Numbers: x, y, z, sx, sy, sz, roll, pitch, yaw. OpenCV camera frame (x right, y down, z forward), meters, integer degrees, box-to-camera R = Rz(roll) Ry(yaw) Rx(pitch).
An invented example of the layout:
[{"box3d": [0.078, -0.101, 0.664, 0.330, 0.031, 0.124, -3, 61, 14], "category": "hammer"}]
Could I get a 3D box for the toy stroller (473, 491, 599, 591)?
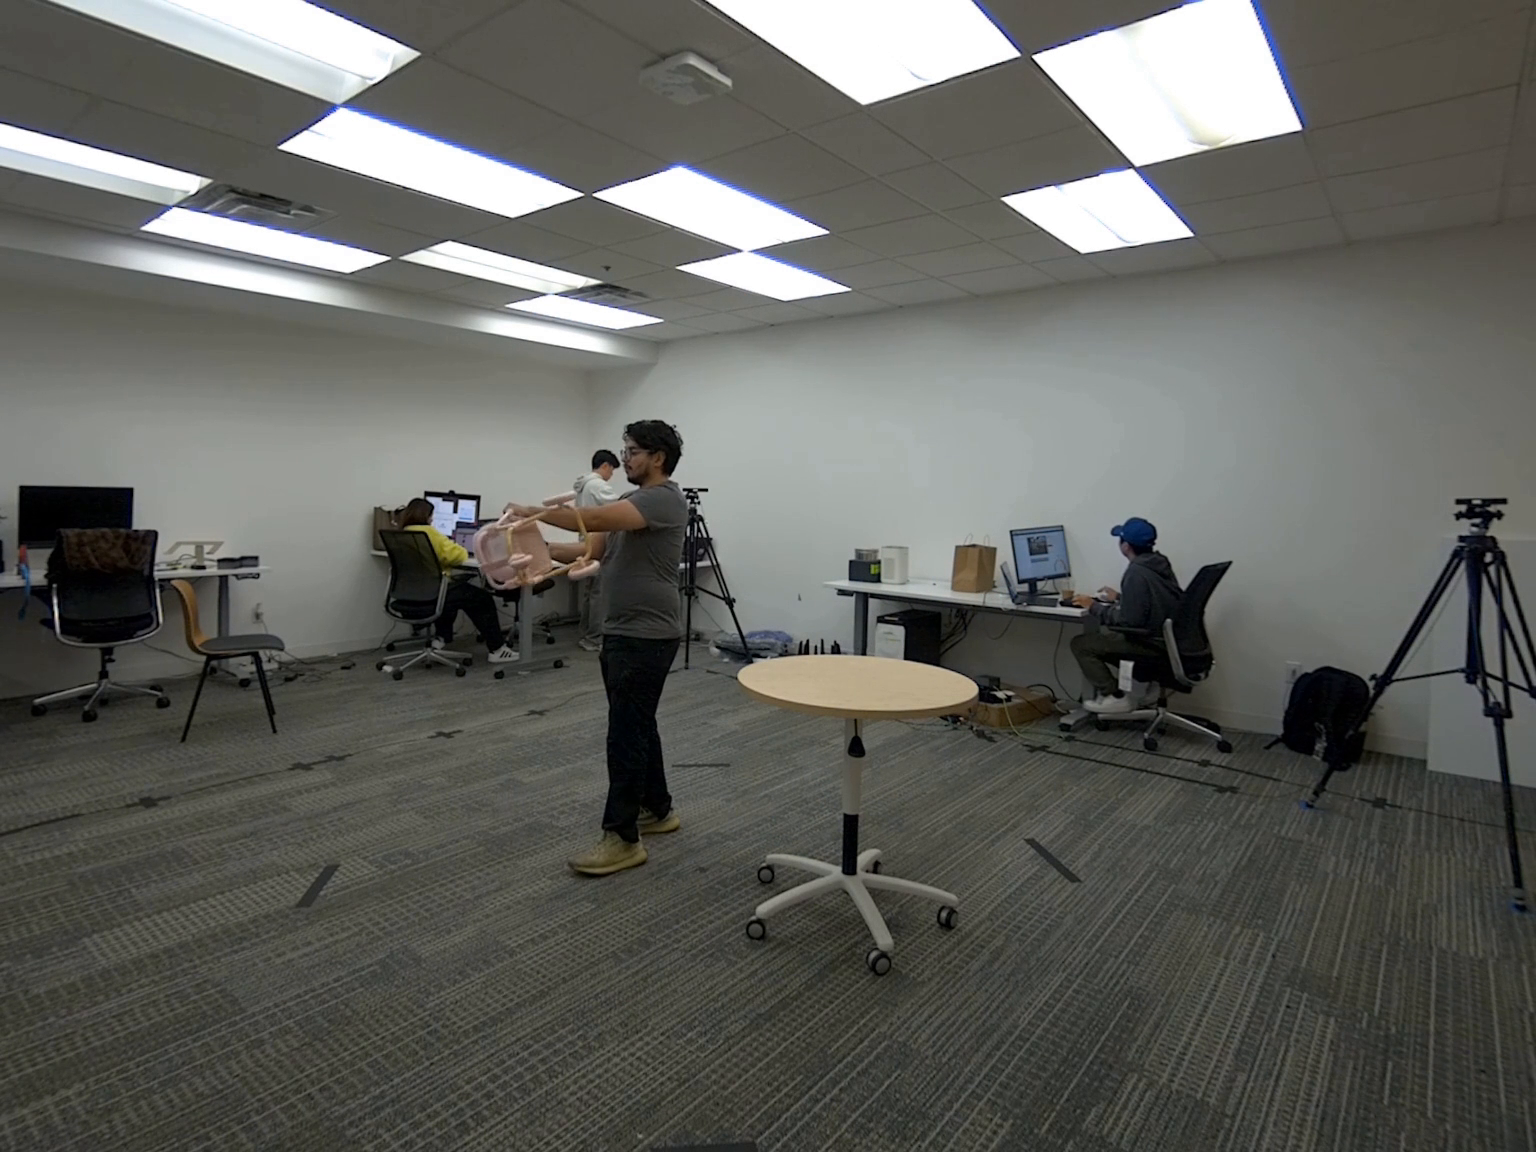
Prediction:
[{"box3d": [-0.818, -0.094, 2.835, 0.551, 0.276, 0.338, -1, 25, 46], "category": "toy stroller"}]
